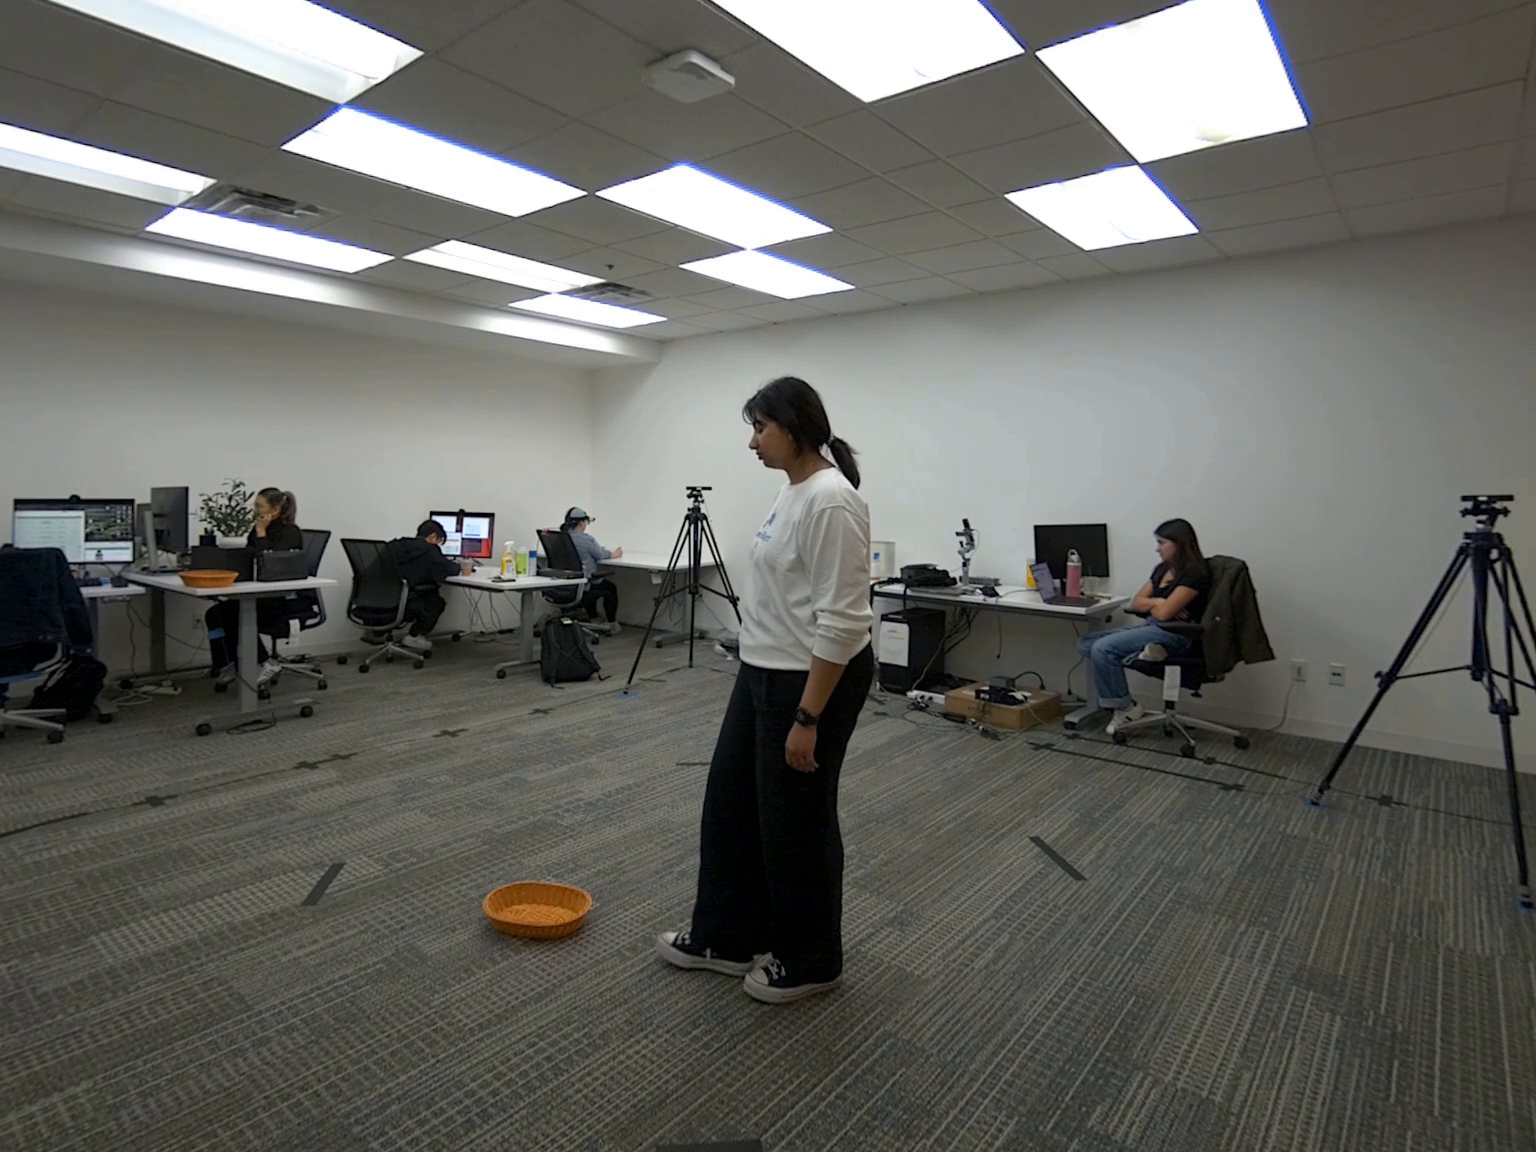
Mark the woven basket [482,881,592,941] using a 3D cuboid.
[{"bbox_3d":[-0.734,1.061,2.694,0.356,0.073,0.250,2,7,14],"label":"woven basket"}]
